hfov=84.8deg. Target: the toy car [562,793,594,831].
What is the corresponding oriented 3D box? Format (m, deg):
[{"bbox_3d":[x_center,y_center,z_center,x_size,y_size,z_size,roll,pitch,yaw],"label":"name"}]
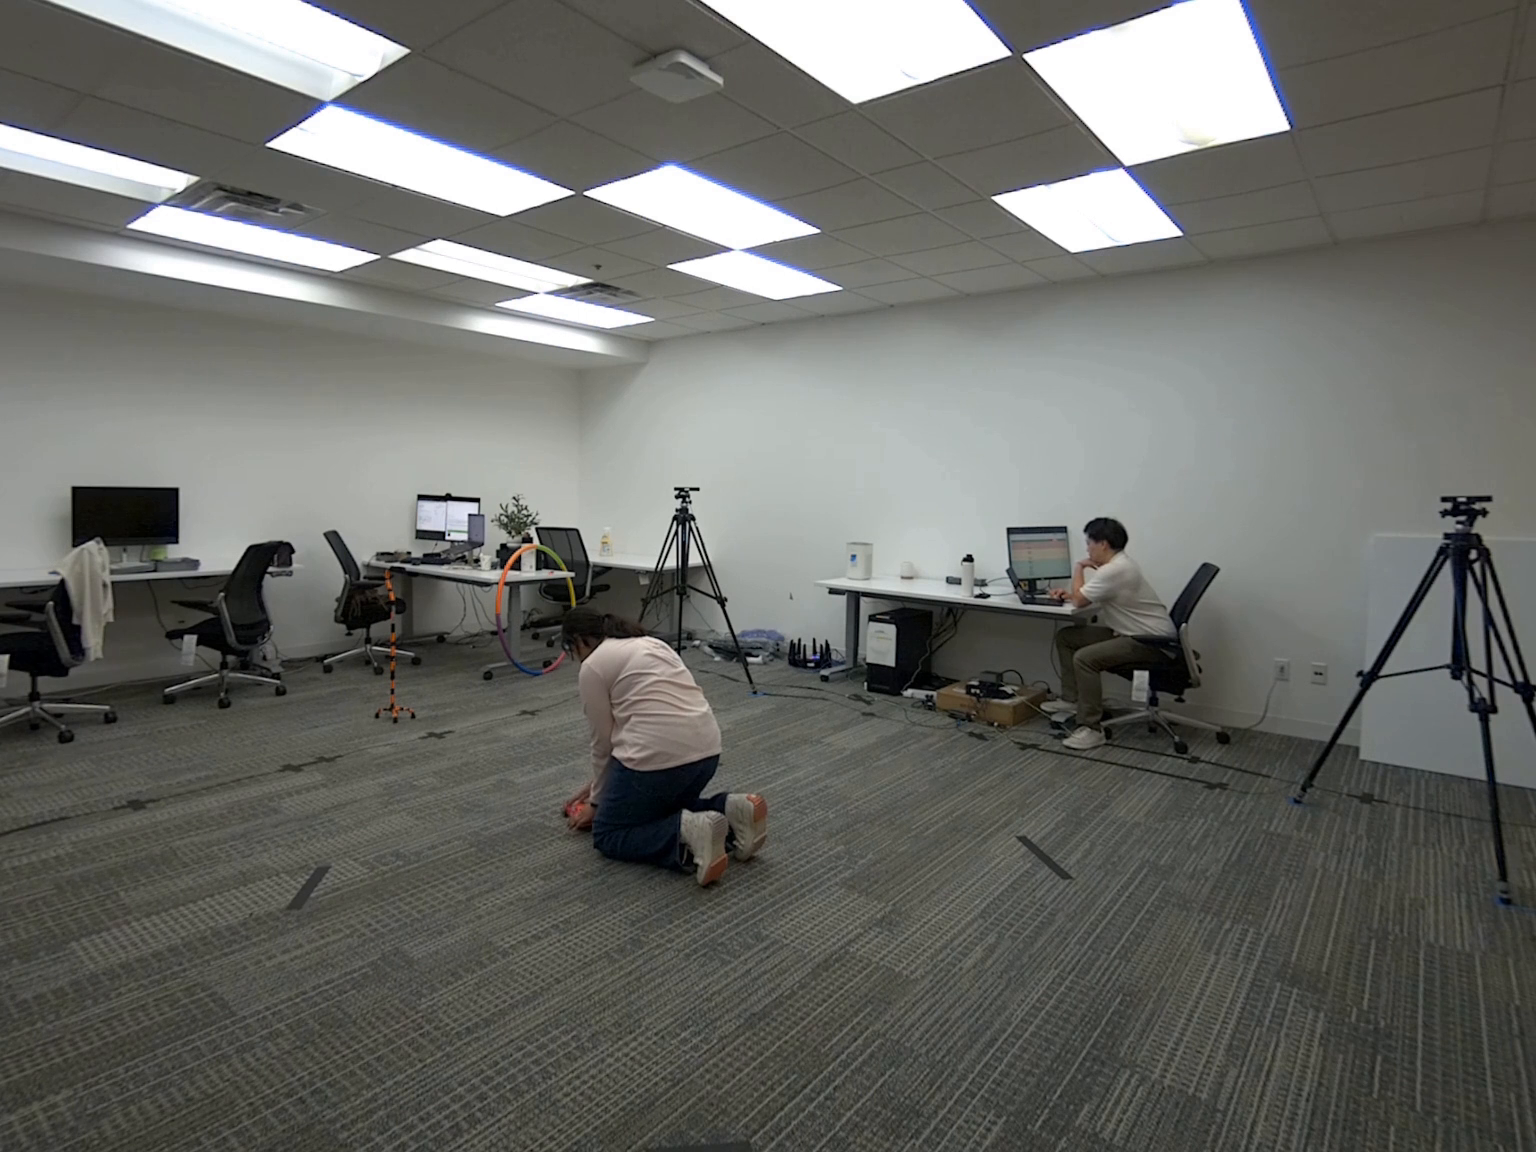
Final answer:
[{"bbox_3d":[-0.779,0.982,3.521,0.127,0.084,0.258,-1,-6,-24],"label":"toy car"}]
